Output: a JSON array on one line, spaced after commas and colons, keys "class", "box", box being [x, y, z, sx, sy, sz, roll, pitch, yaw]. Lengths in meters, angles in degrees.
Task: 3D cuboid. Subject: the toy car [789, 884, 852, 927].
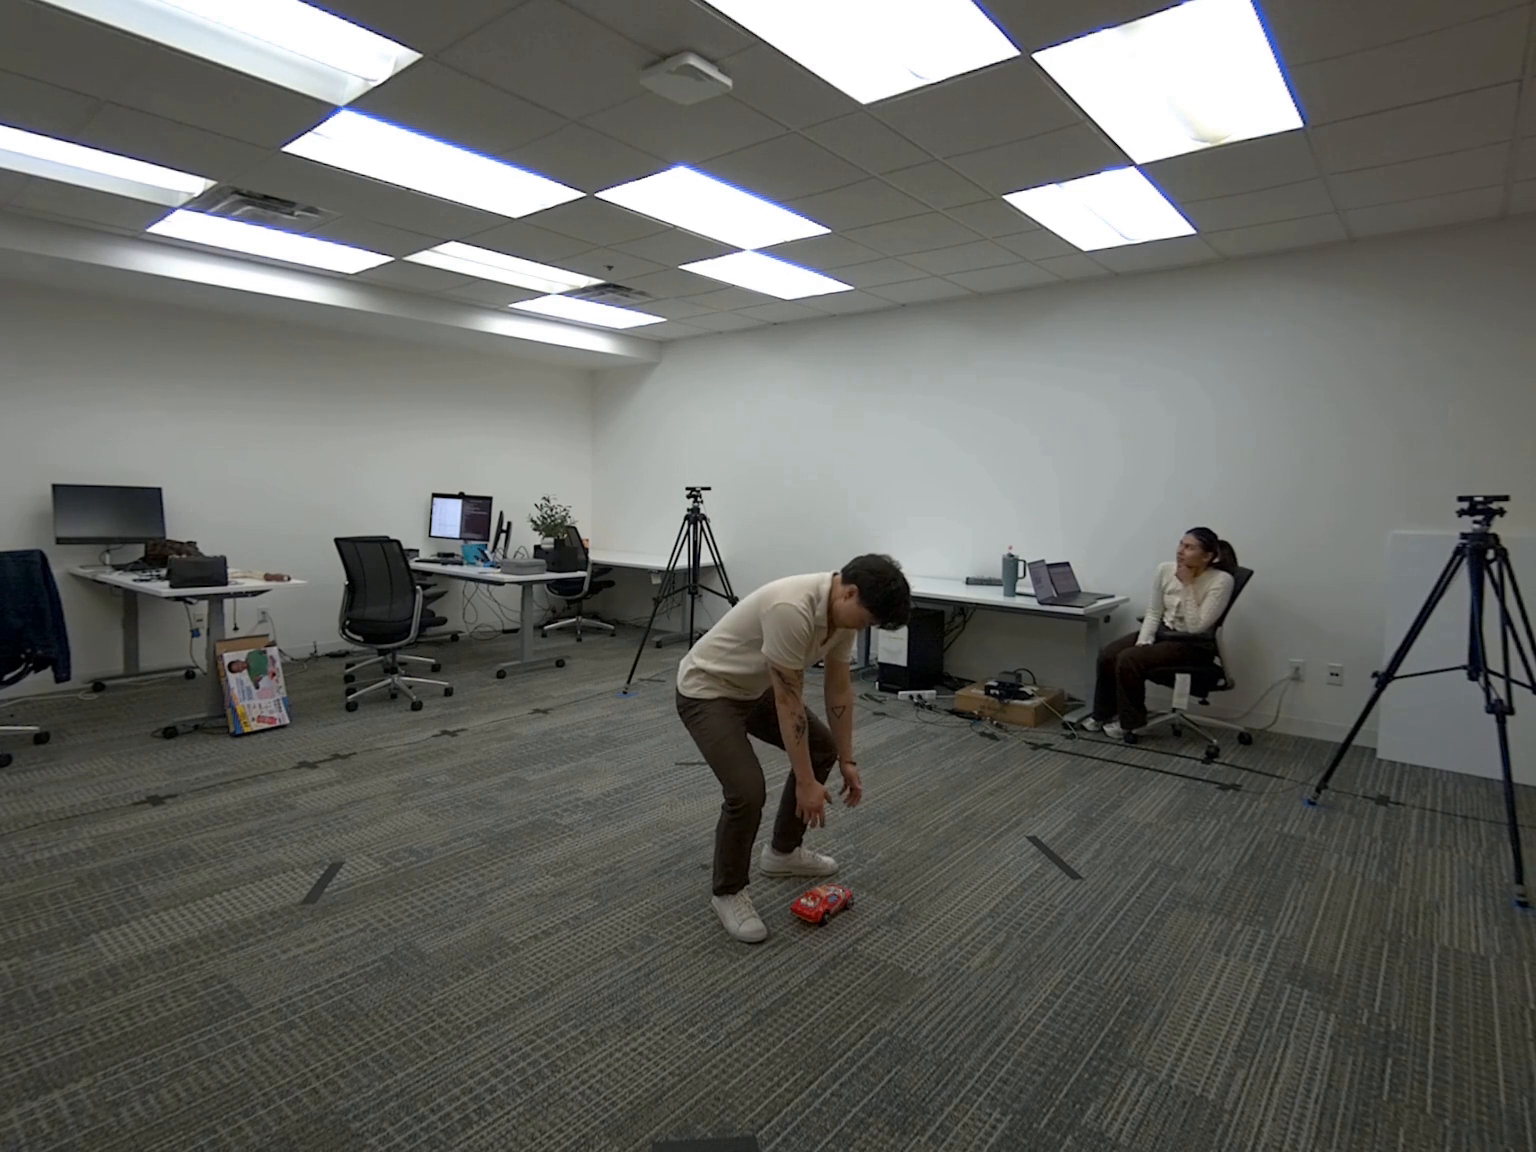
[{"class": "toy car", "box": [0.164, 1.074, 2.791, 0.135, 0.083, 0.245, 6, -2, 40]}]
